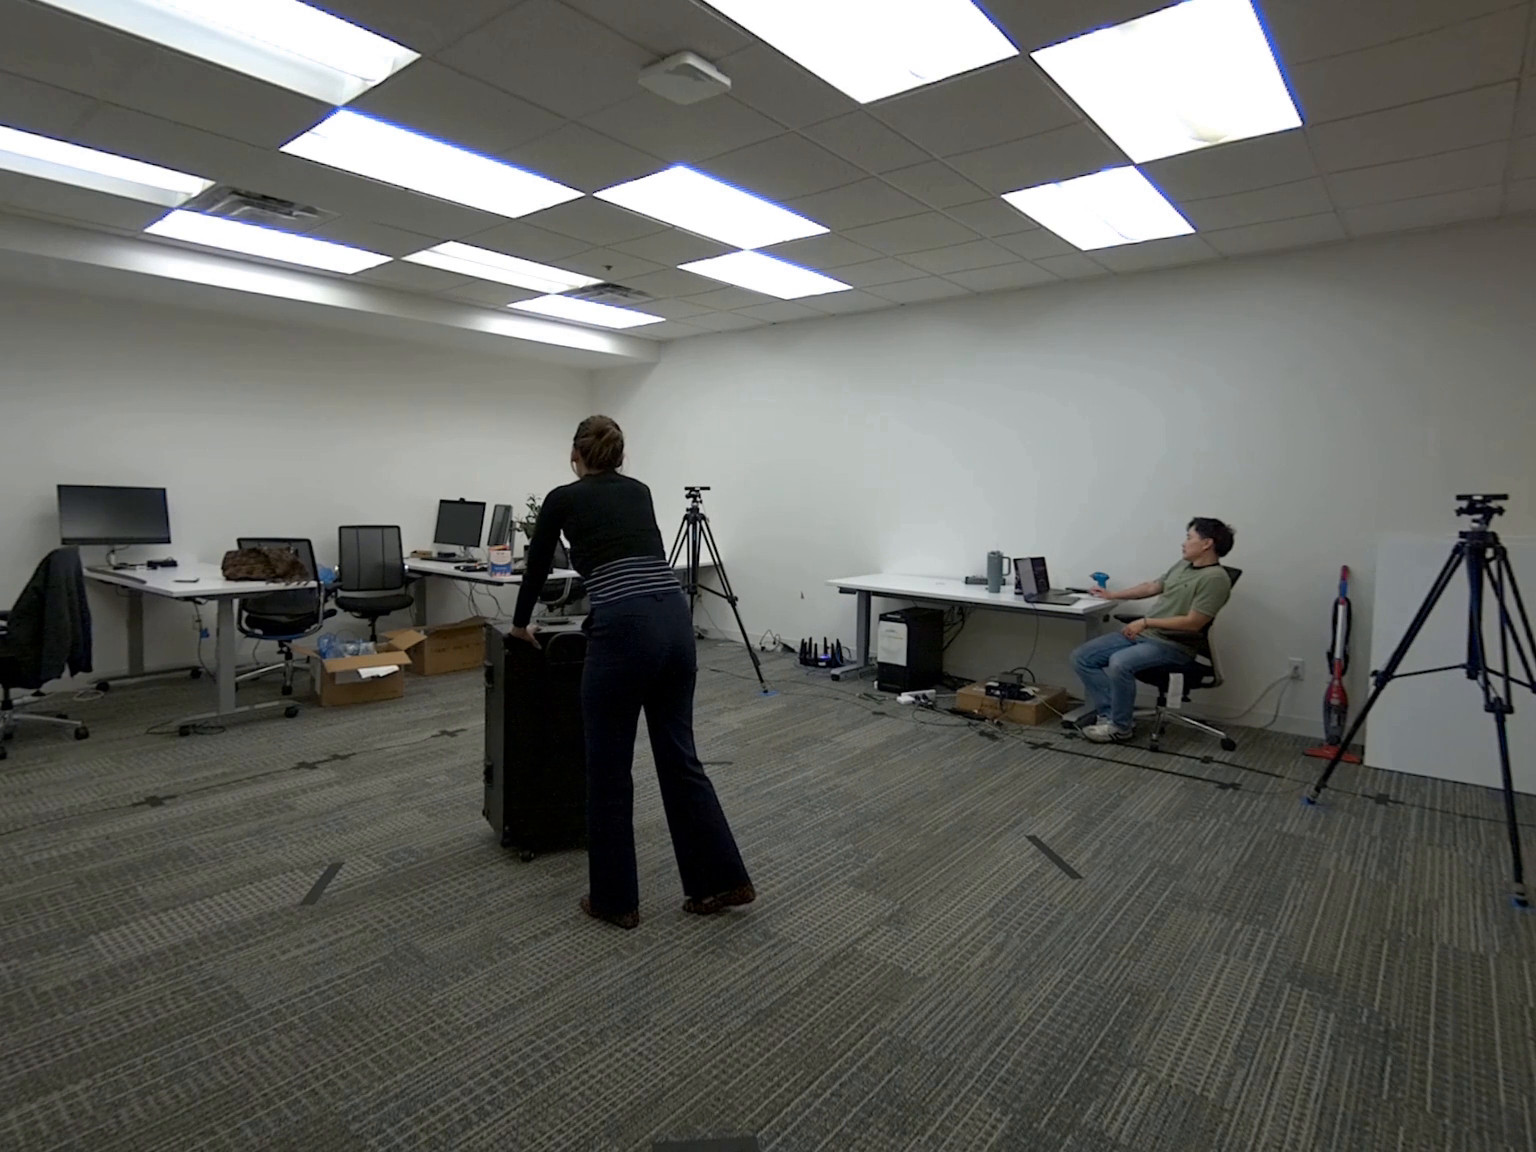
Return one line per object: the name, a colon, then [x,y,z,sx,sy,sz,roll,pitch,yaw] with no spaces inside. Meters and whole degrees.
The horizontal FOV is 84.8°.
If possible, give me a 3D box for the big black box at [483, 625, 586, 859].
big black box: [-0.838,0.611,3.324,0.507,0.859,0.408,0,4,-29]
